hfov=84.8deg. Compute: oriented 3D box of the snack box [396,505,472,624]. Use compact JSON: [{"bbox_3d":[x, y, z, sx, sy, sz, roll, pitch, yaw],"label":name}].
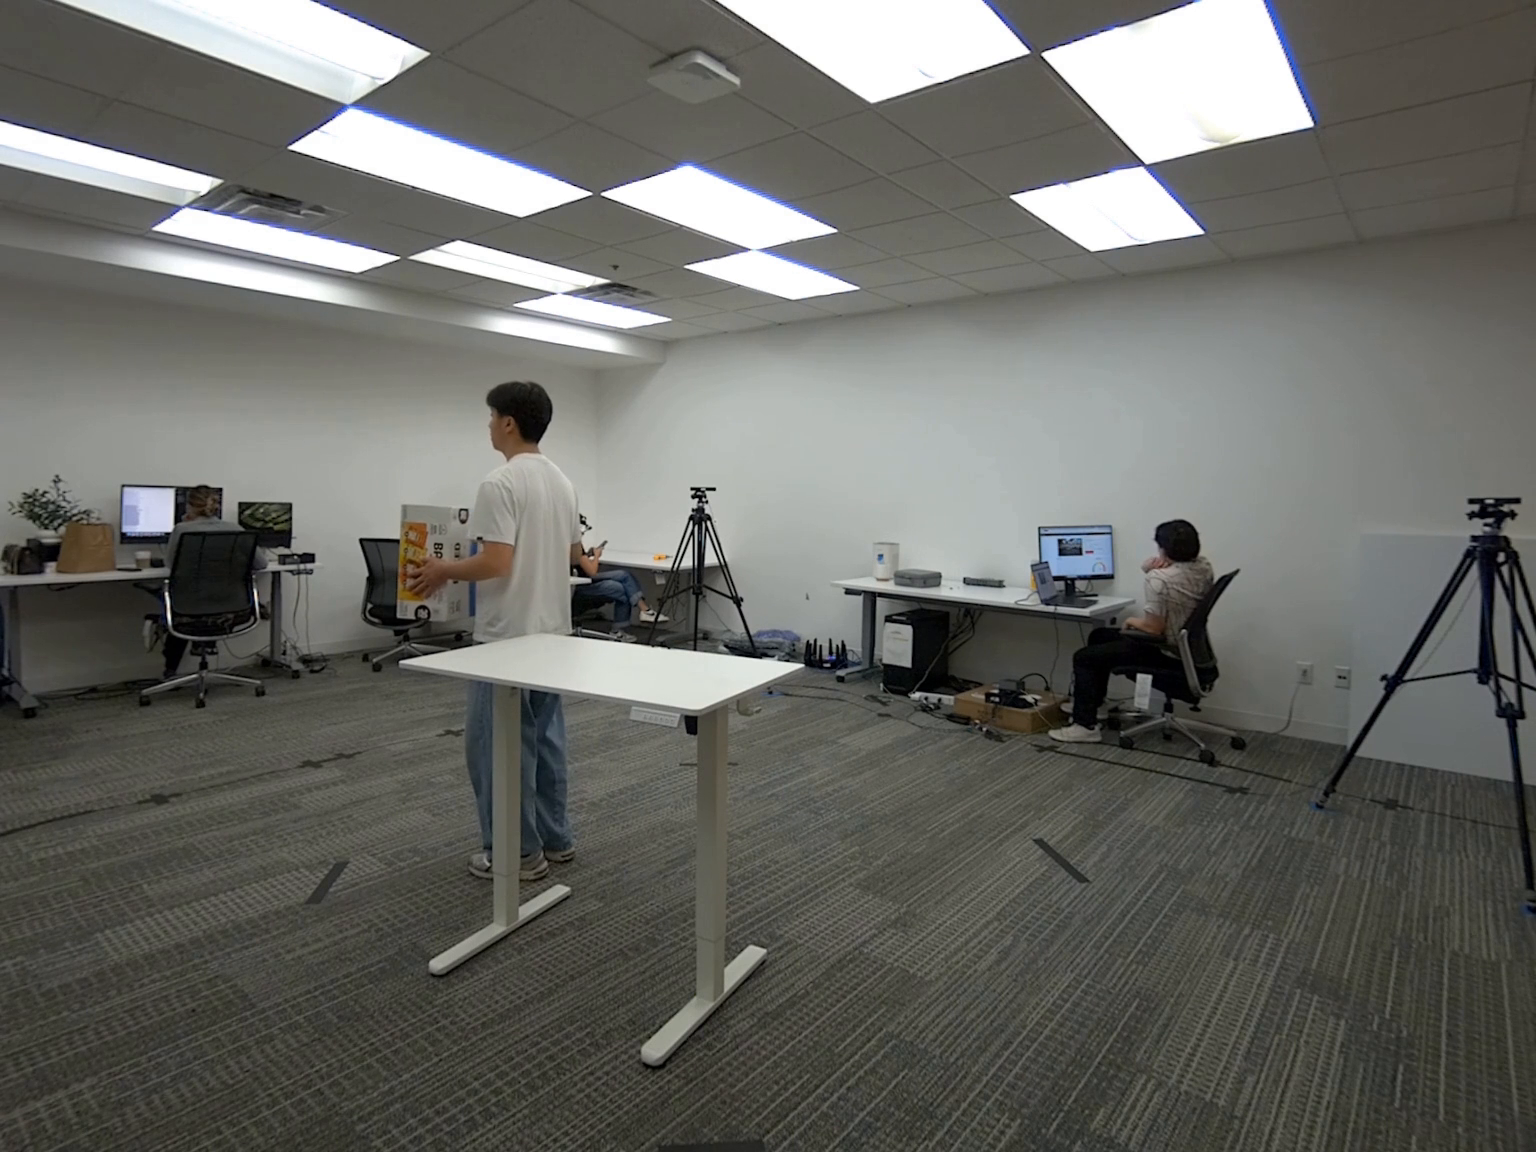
[{"bbox_3d":[-1.197,-0.057,3.153,0.208,0.404,0.337,3,3,10],"label":"snack box"}]
